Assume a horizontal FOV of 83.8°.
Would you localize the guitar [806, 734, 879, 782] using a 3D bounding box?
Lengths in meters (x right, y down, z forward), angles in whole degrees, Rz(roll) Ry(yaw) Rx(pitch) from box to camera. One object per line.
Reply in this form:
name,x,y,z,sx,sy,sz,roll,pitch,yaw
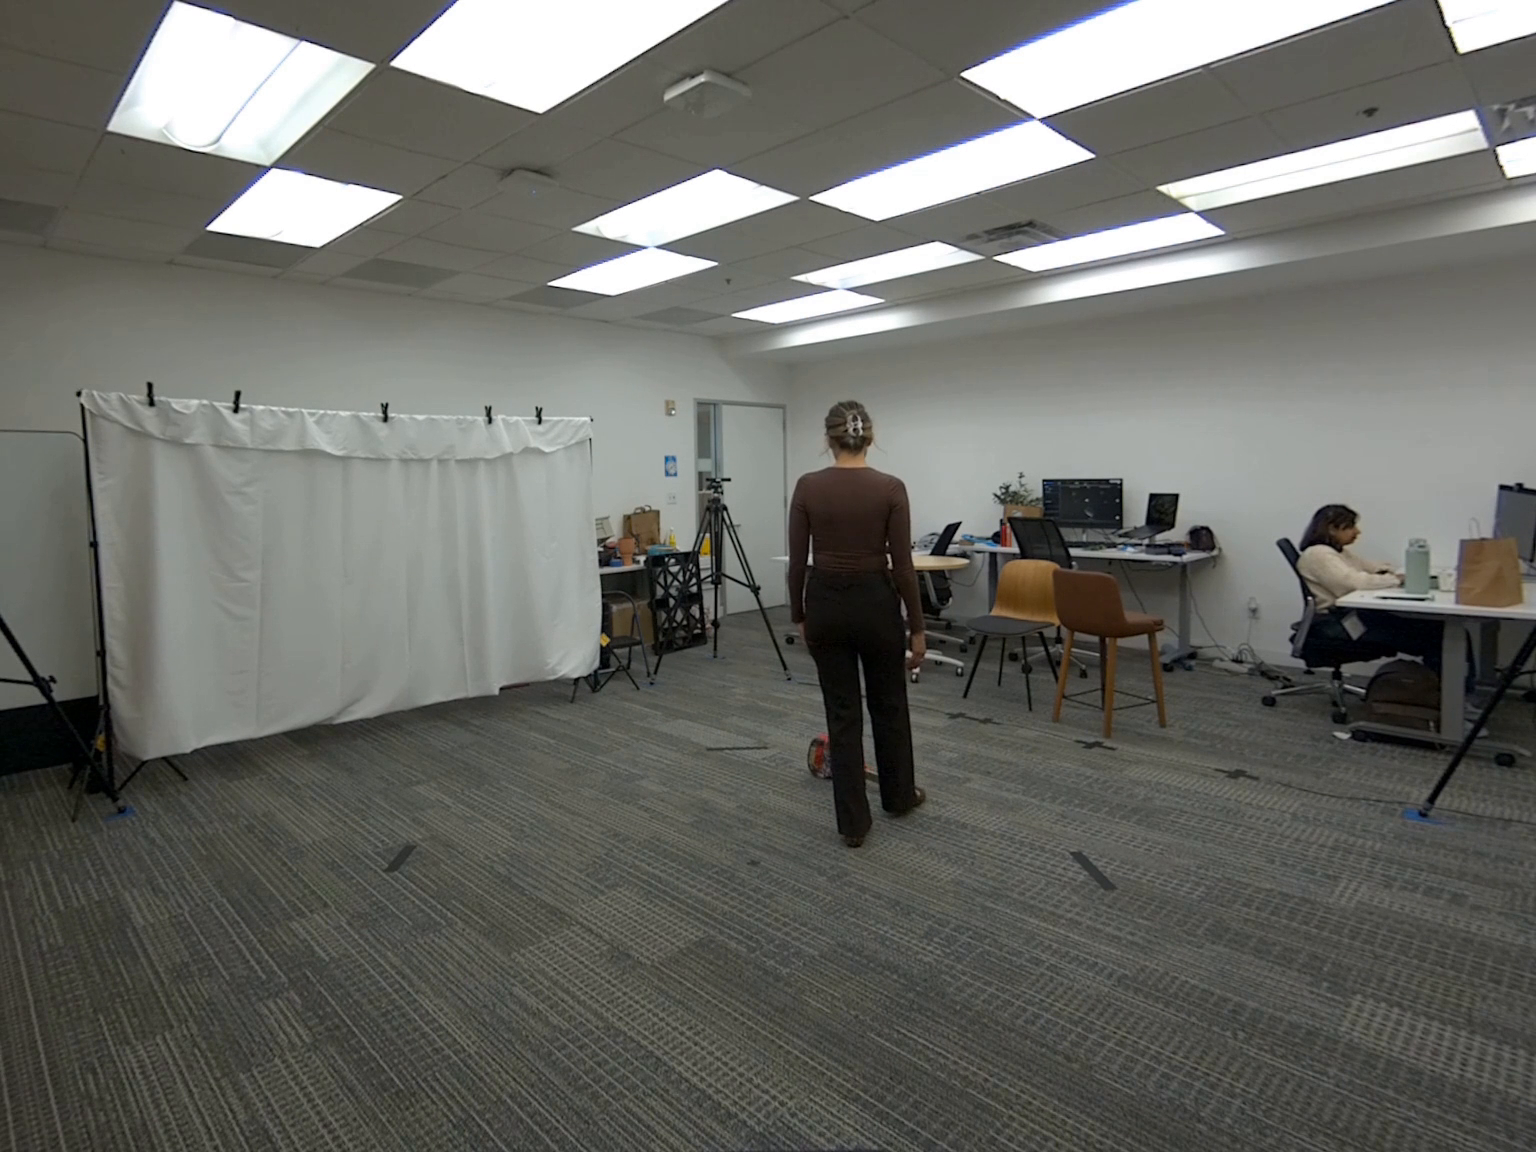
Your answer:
guitar,0.410,0.906,3.892,0.514,0.191,0.069,22,18,29
